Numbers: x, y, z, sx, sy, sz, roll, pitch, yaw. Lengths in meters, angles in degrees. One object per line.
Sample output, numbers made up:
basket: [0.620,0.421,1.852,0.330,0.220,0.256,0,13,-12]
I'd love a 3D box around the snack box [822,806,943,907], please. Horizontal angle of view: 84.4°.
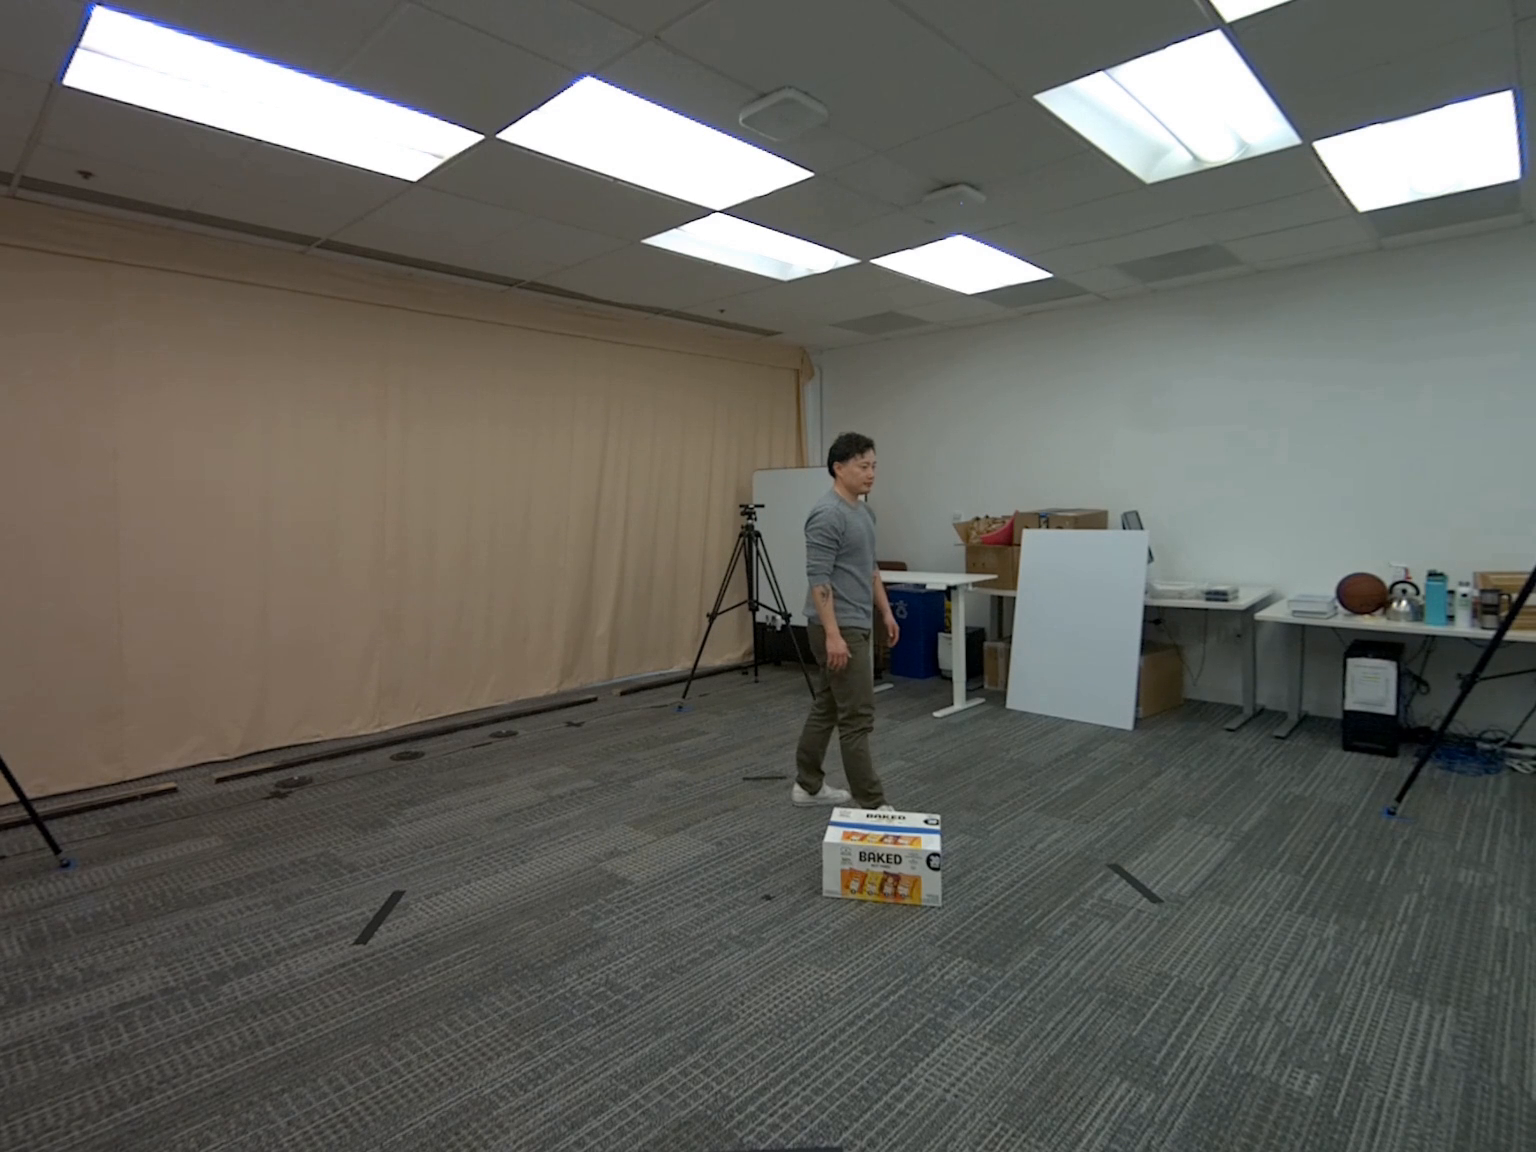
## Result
snack box: [0.429,1.024,3.092,0.411,0.205,0.336,0,5,13]
